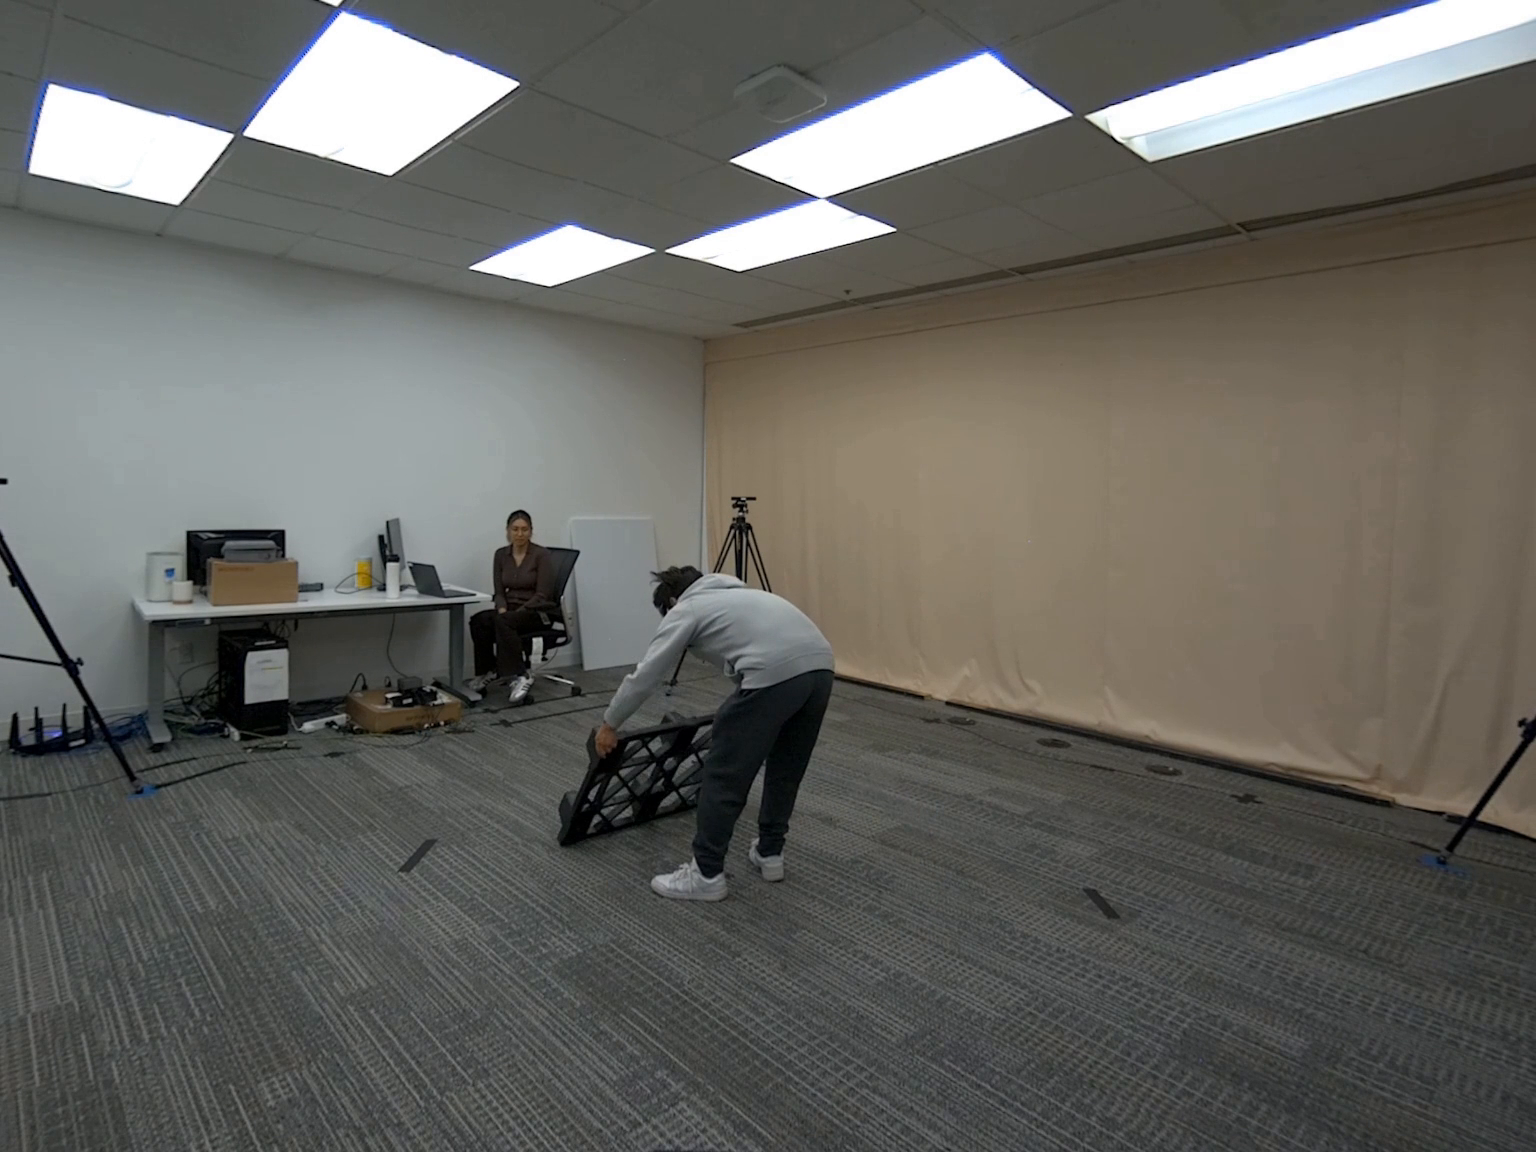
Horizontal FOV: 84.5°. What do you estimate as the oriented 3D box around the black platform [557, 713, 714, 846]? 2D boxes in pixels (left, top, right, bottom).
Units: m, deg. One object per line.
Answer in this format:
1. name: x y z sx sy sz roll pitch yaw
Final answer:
1. black platform: -0.450 0.779 3.468 0.787 0.600 0.148 -3 40 -43
